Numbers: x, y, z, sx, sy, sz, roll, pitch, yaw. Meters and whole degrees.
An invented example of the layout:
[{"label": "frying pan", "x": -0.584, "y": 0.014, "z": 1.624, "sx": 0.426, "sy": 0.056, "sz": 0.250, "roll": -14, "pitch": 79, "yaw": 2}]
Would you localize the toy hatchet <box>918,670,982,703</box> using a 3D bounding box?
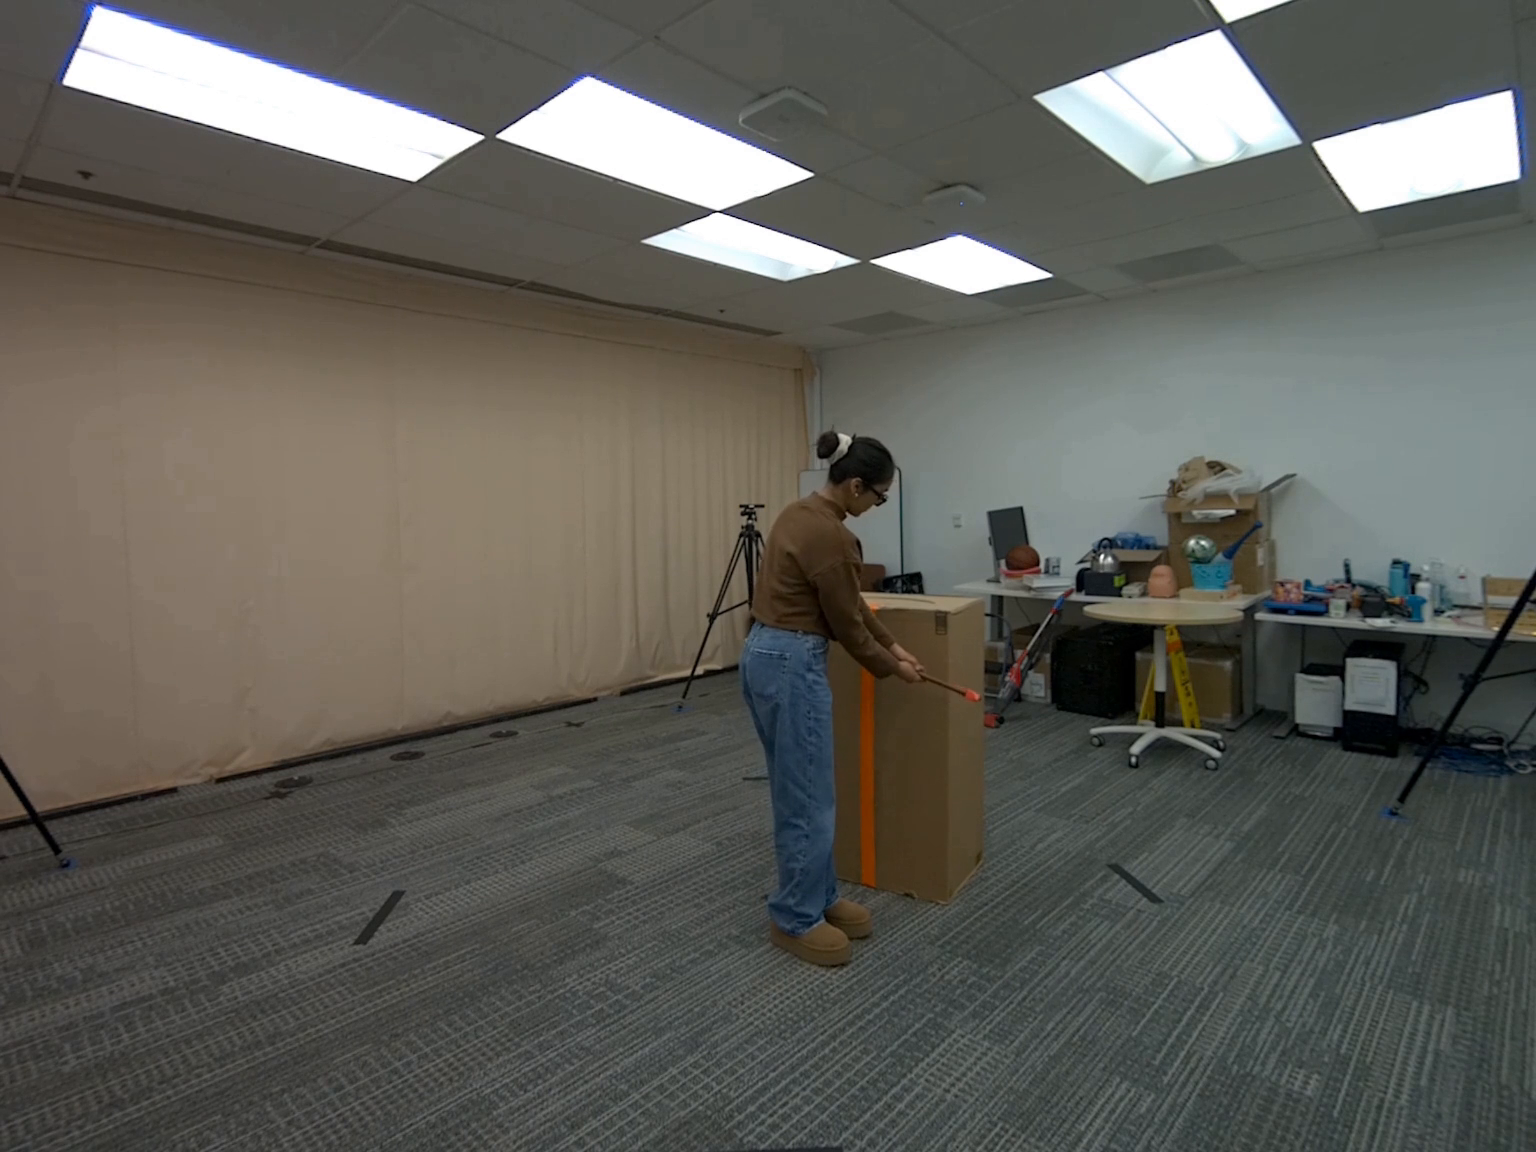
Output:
[{"label": "toy hatchet", "x": 0.562, "y": 0.349, "z": 2.755, "sx": 0.277, "sy": 0.029, "sz": 0.128, "roll": 25, "pitch": 6, "yaw": 21}]
